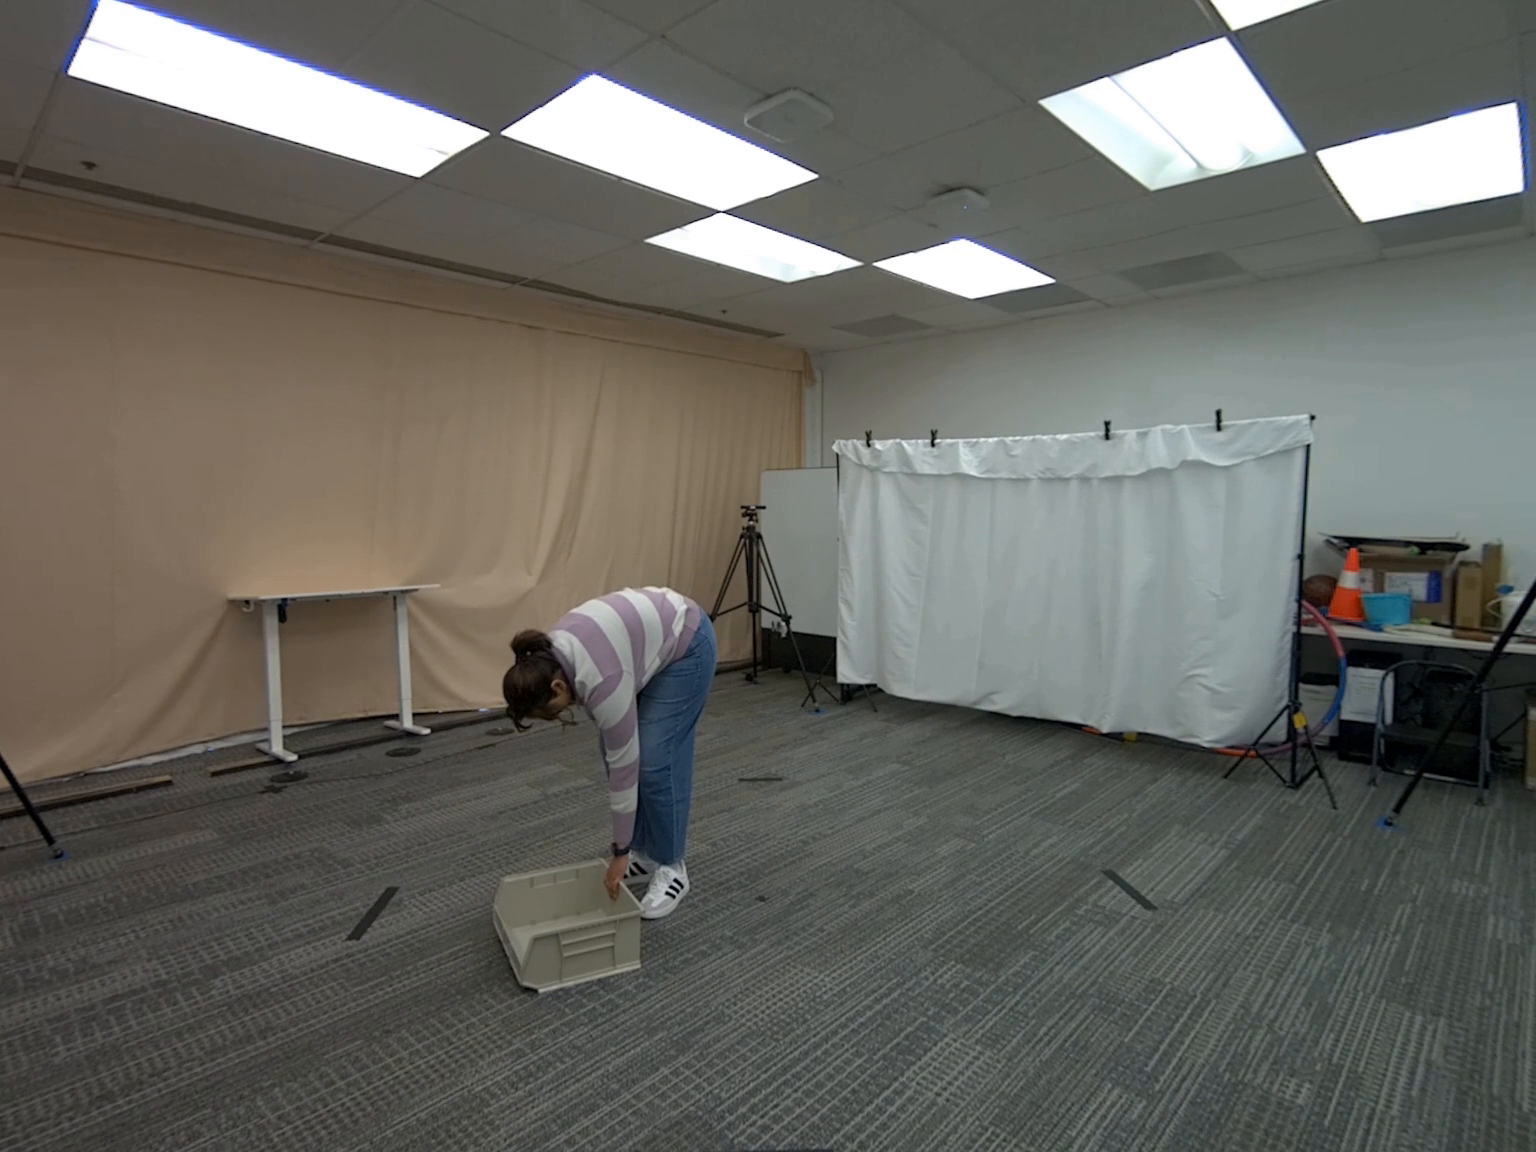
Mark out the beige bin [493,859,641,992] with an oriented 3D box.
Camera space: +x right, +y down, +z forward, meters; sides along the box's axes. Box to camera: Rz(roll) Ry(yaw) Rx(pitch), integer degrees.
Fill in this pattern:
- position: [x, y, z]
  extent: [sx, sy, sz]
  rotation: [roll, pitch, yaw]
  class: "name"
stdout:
- position: [-0.634, 1.088, 2.644]
  extent: [0.368, 0.188, 0.434]
  rotation: [-1, 4, -28]
  class: "beige bin"
